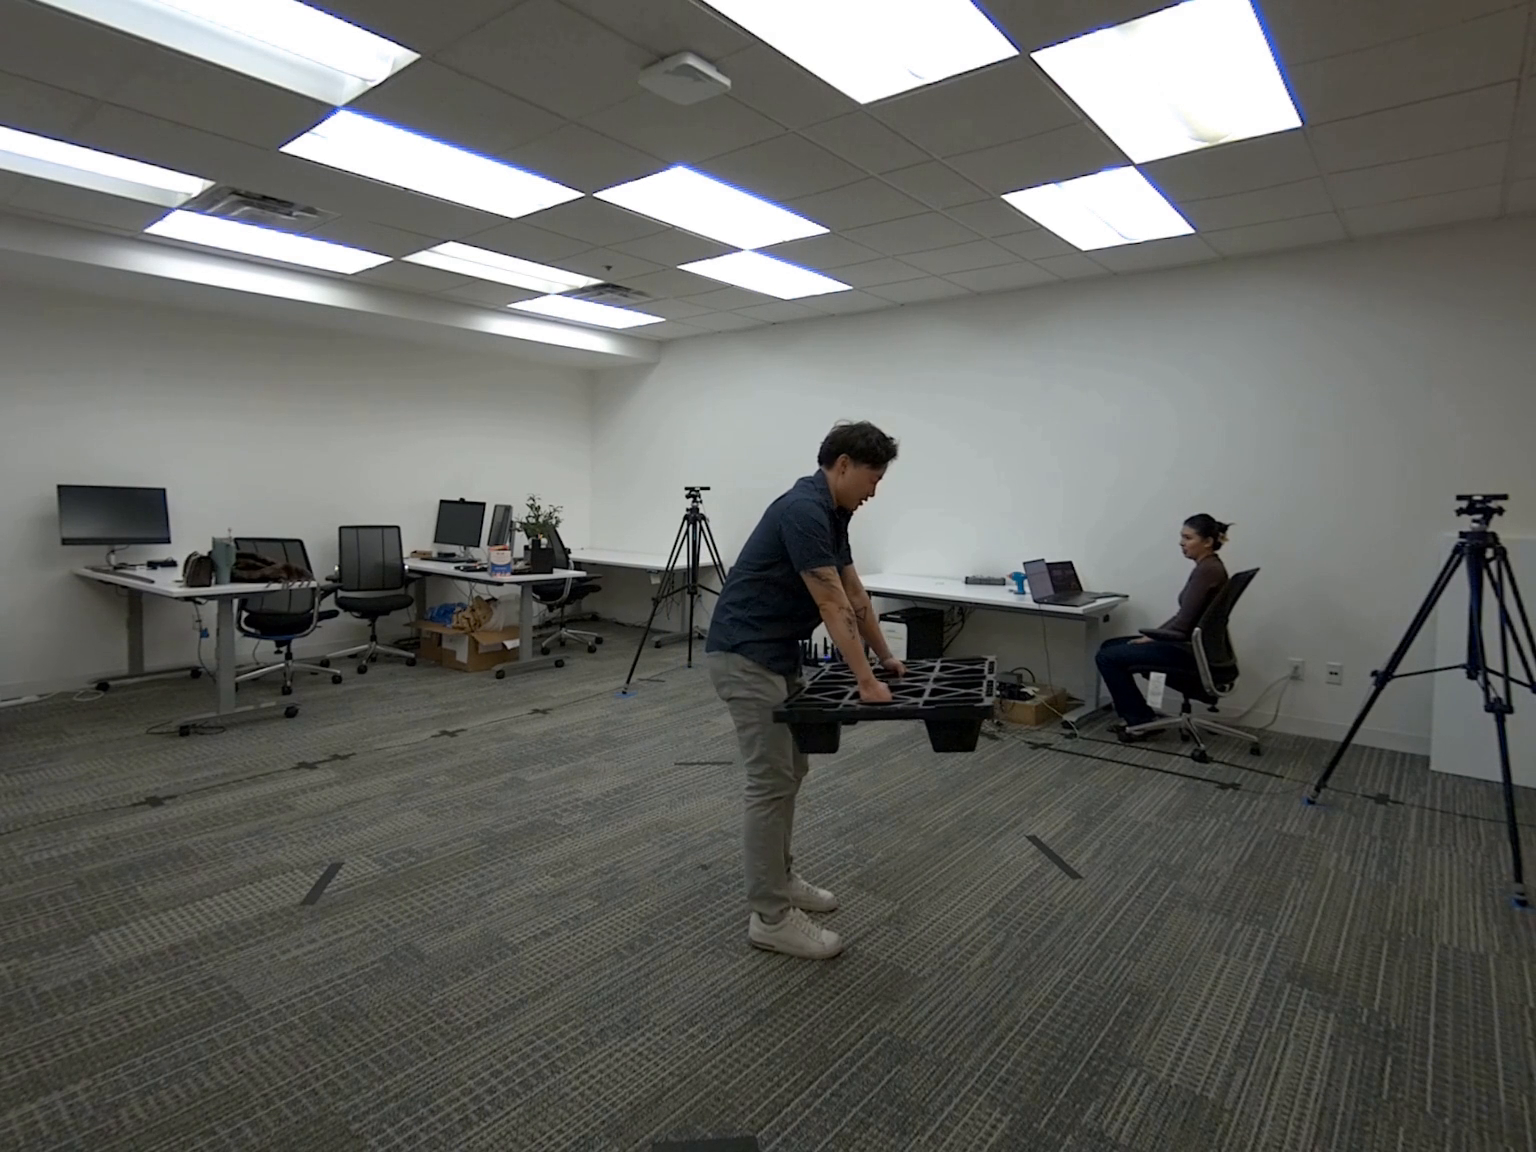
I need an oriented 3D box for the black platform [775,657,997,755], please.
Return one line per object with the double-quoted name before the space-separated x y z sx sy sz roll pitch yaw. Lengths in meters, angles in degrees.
"black platform" 0.393 0.391 2.639 0.615 0.143 0.792 -6 2 17
